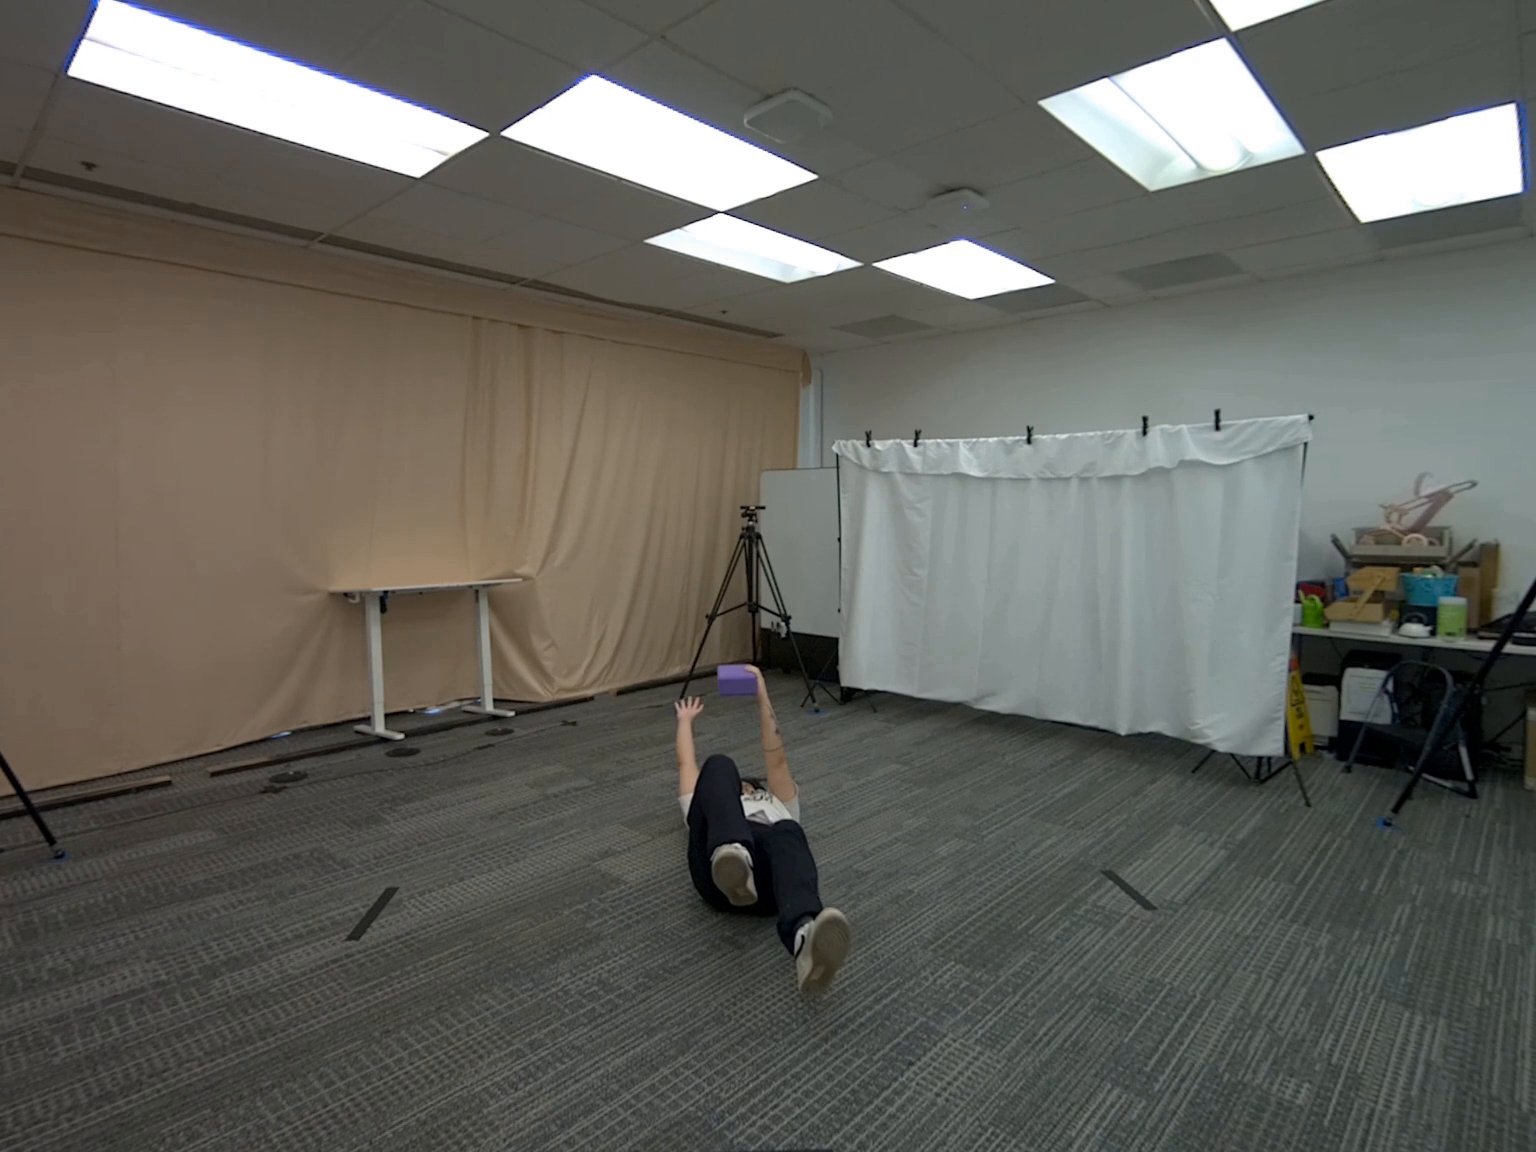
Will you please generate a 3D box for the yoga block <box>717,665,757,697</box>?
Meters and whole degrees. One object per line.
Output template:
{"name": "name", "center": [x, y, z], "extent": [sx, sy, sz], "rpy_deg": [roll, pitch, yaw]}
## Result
{"name": "yoga block", "center": [-0.125, 0.417, 3.399], "extent": [0.148, 0.076, 0.231], "rpy_deg": [-2, 8, -4]}
